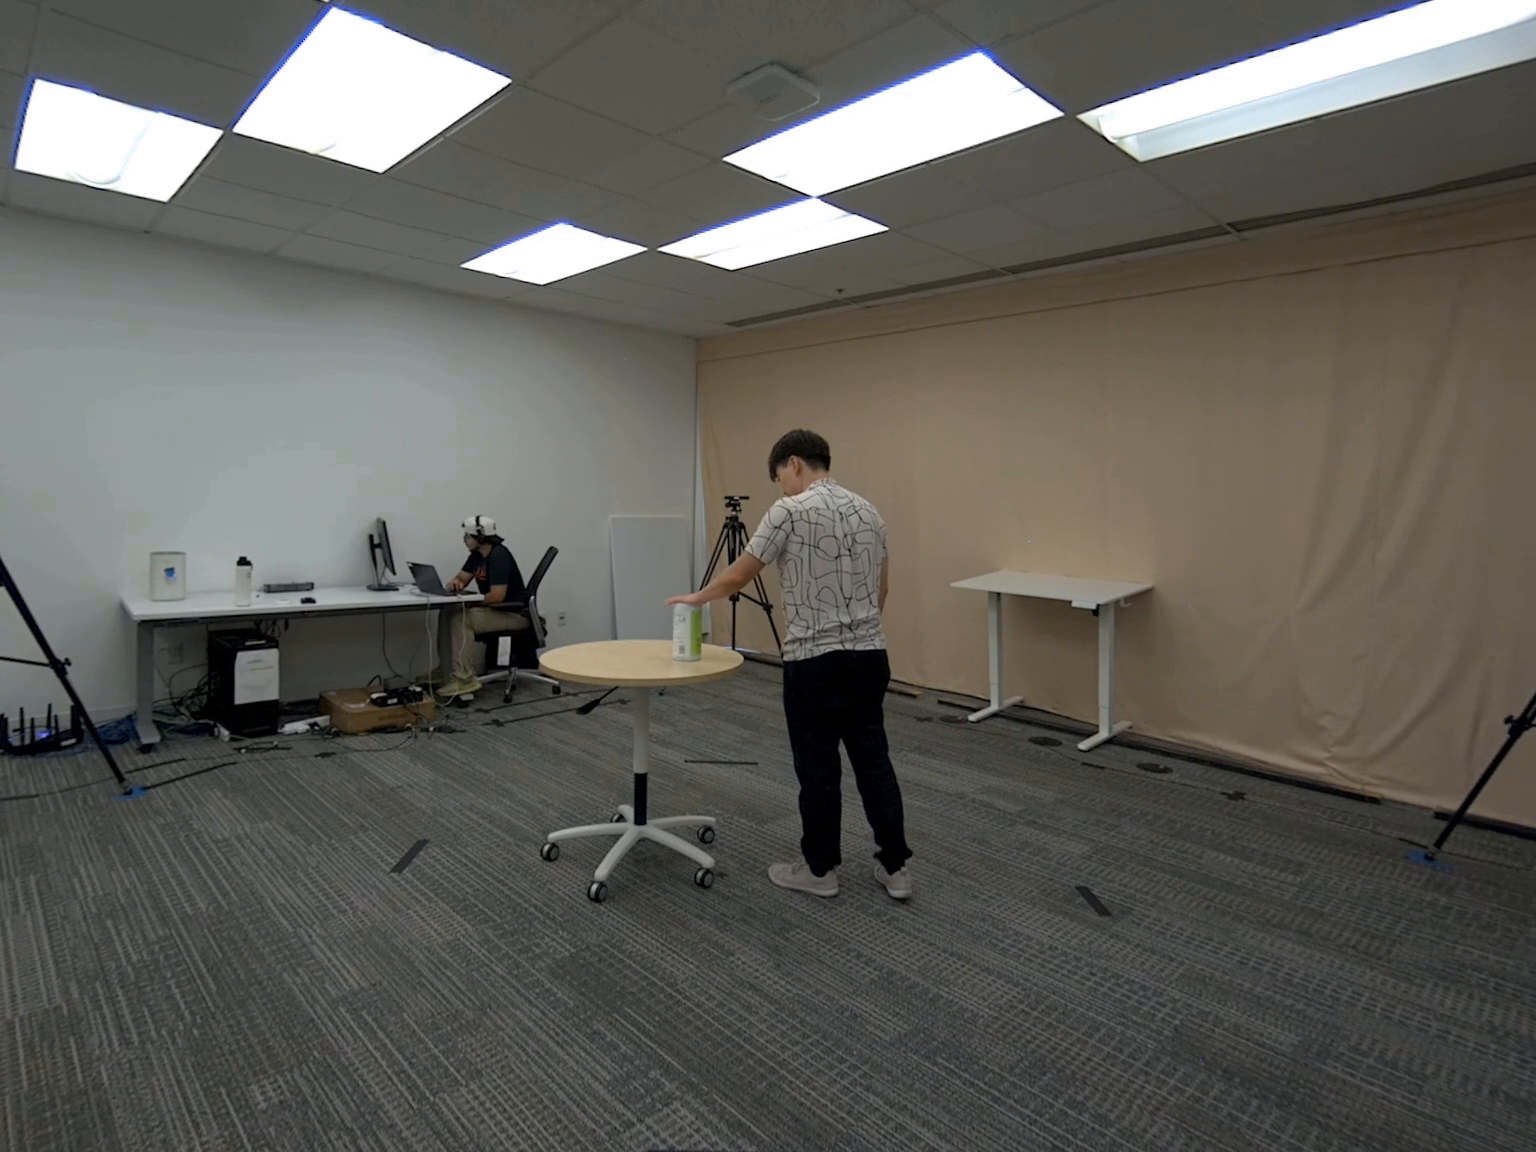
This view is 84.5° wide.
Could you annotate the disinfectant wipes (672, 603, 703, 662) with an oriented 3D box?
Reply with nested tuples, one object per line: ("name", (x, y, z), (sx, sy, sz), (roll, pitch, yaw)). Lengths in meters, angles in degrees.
("disinfectant wipes", (-0.305, 0.208, 3.155), (0.118, 0.217, 0.118), (2, 5, -2))
